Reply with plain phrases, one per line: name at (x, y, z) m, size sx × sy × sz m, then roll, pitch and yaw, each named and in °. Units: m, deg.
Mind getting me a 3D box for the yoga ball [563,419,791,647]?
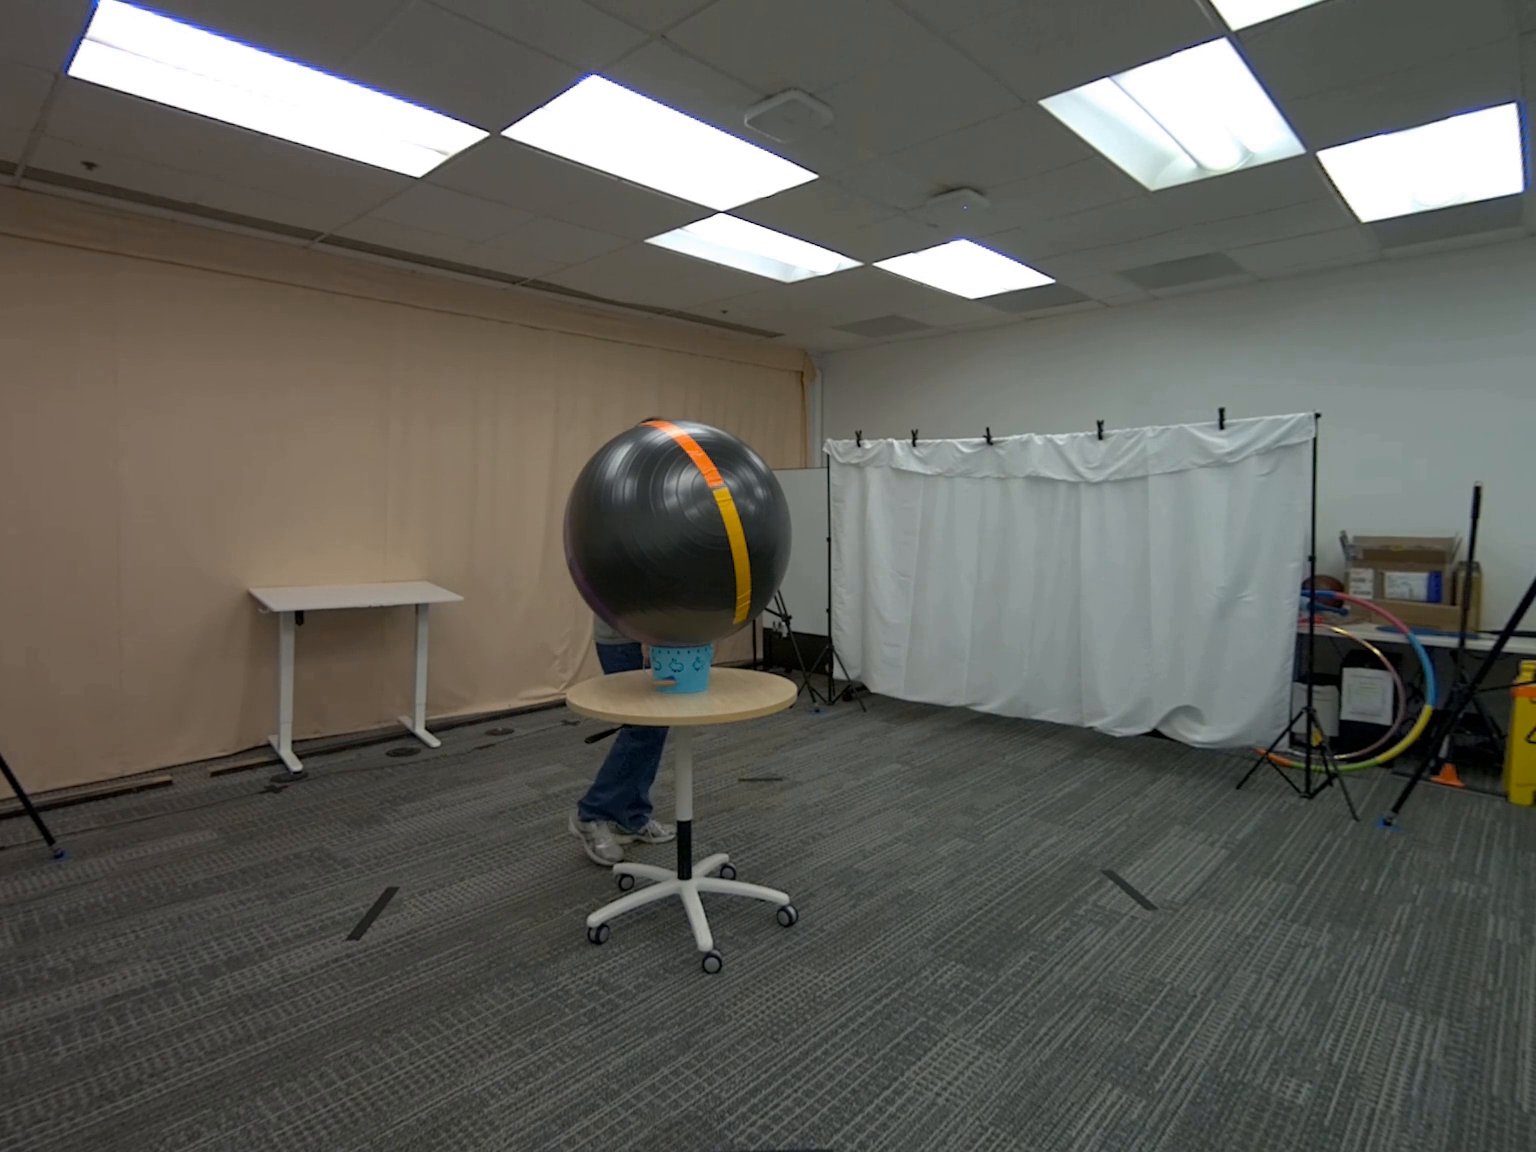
yoga ball at (-0.301, -0.135, 2.806) m, size 0.757 × 0.756 × 0.760 m, roll 0°, pitch 4°, yaw -2°
